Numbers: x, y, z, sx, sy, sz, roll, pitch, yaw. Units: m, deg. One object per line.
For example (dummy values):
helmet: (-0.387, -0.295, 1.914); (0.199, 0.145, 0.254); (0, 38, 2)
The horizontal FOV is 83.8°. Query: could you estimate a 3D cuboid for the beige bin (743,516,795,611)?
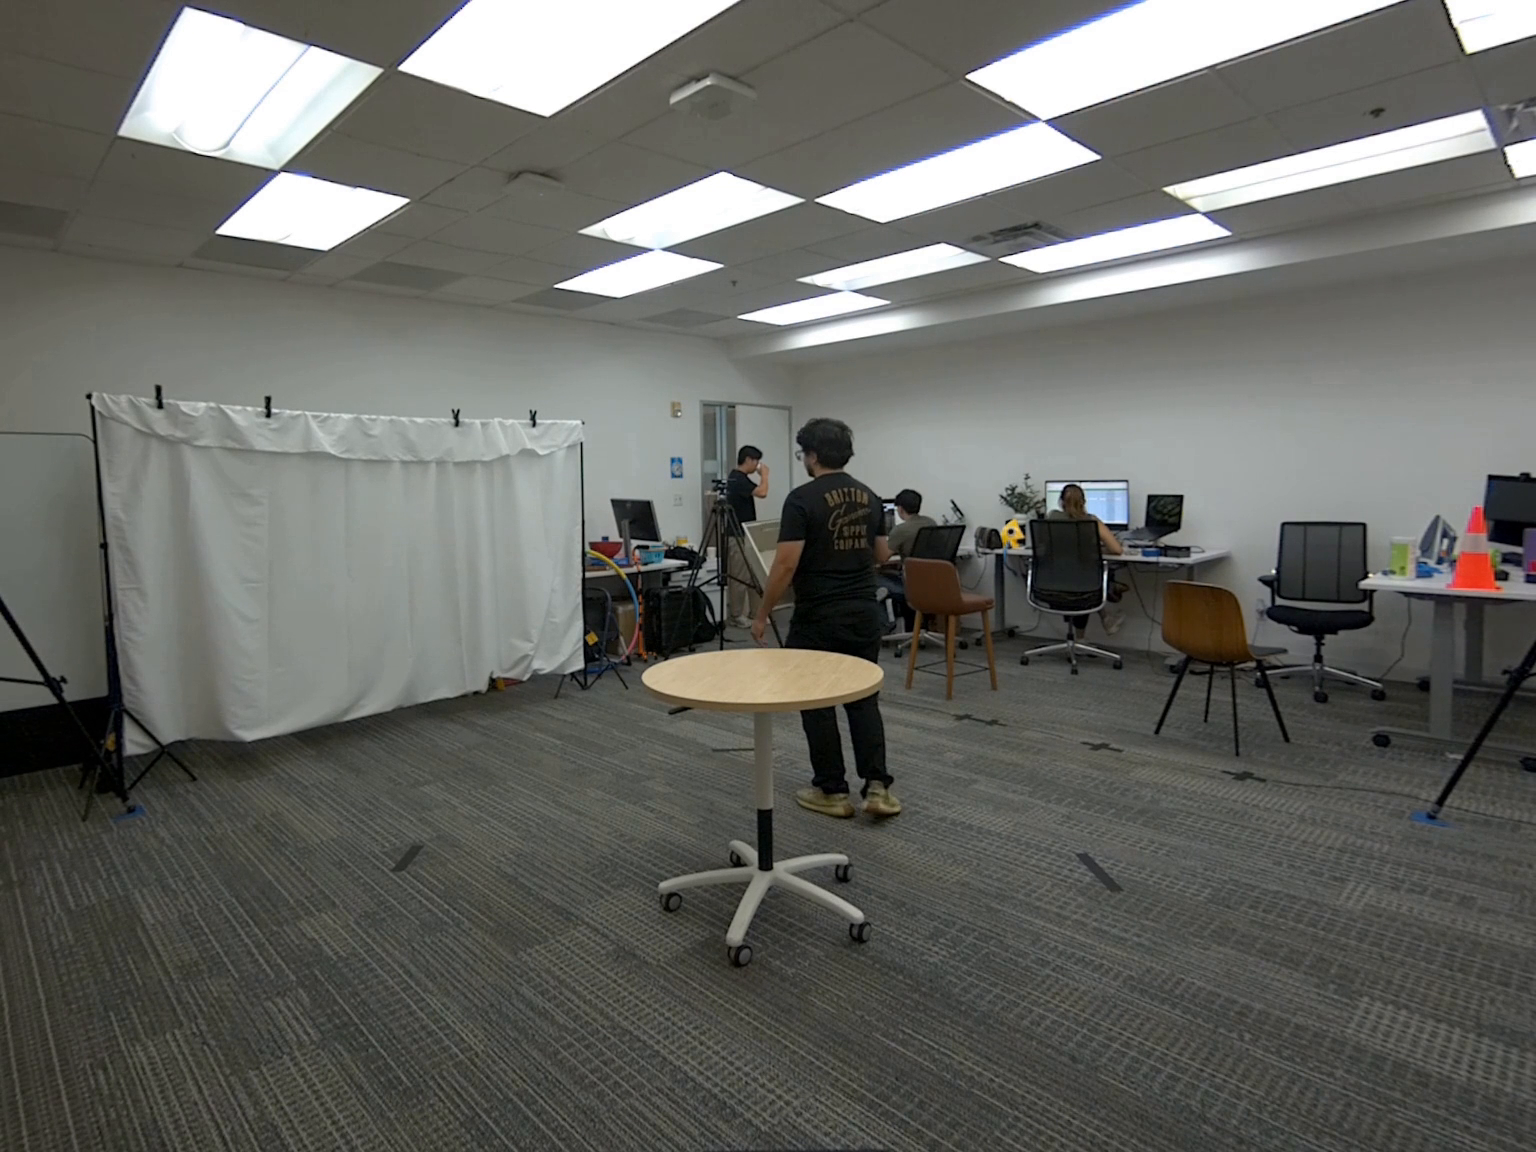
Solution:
beige bin: (0.127, -0.085, 3.962); (0.374, 0.184, 0.438); (-11, 39, -13)
